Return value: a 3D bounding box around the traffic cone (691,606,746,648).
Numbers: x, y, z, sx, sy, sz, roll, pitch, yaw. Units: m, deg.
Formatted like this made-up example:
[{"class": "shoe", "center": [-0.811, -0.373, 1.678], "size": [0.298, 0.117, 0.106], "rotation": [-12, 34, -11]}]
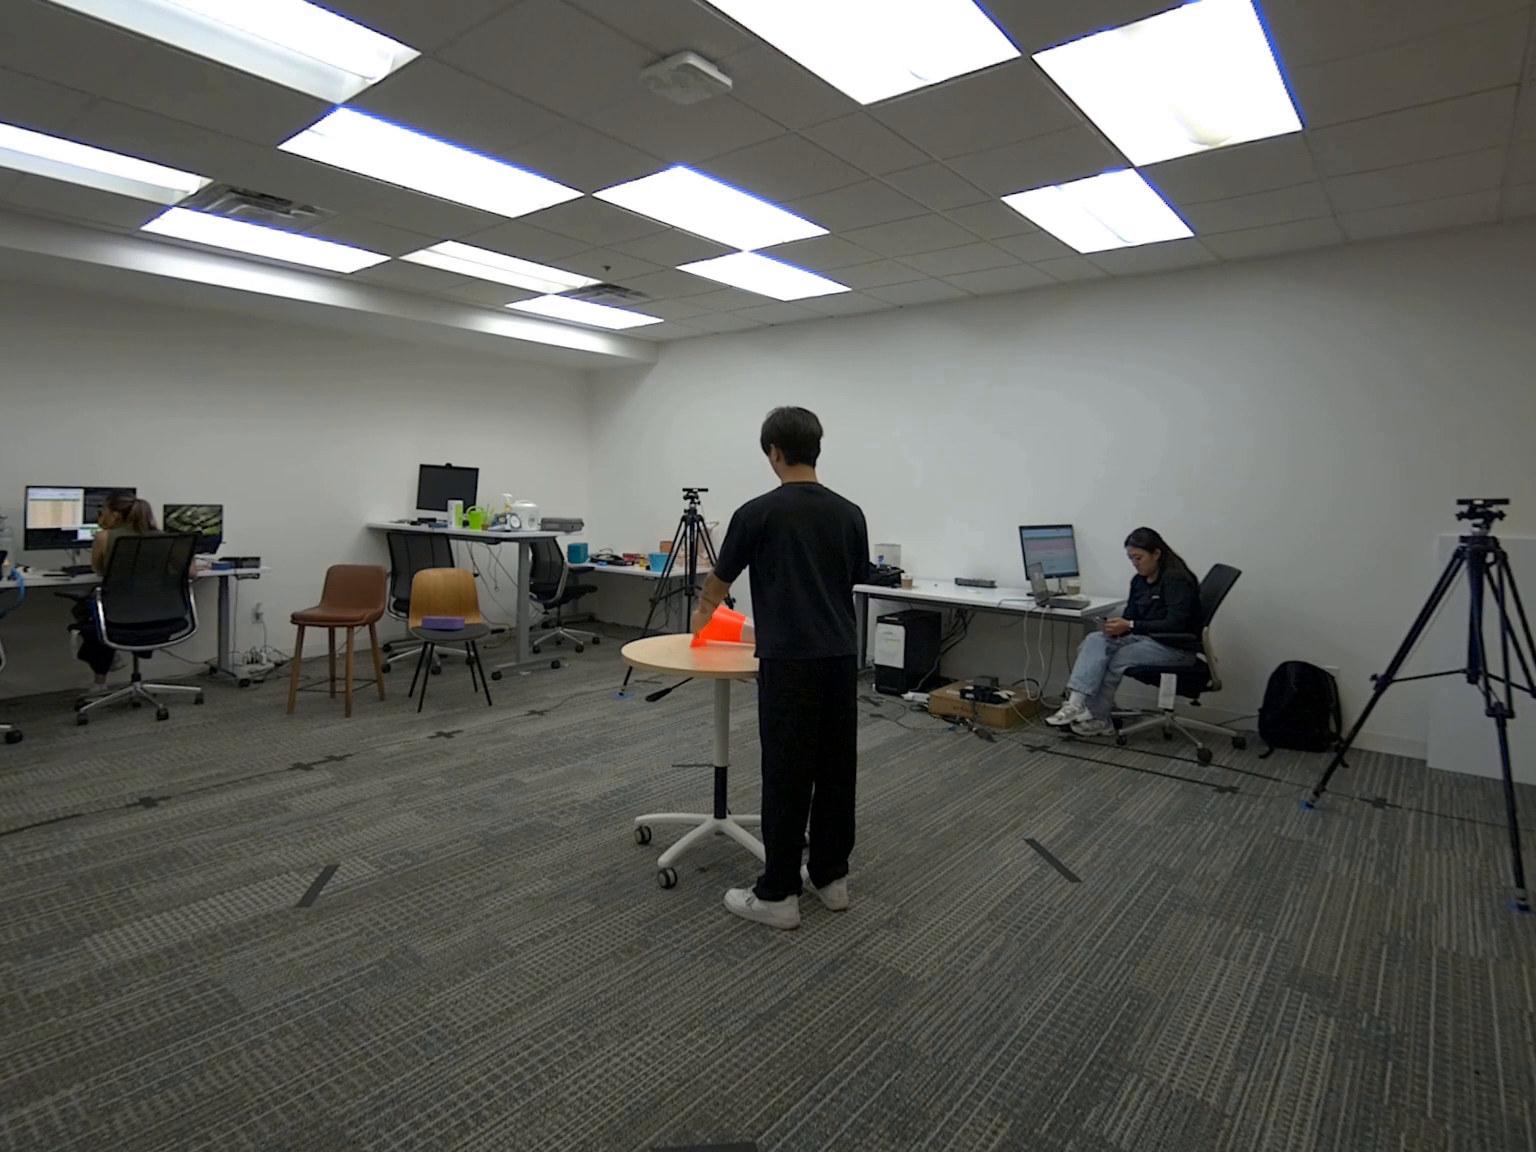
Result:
[{"class": "traffic cone", "center": [-0.078, 0.211, 3.298], "size": [0.389, 0.203, 0.203], "rotation": [13, 4, 11]}]
